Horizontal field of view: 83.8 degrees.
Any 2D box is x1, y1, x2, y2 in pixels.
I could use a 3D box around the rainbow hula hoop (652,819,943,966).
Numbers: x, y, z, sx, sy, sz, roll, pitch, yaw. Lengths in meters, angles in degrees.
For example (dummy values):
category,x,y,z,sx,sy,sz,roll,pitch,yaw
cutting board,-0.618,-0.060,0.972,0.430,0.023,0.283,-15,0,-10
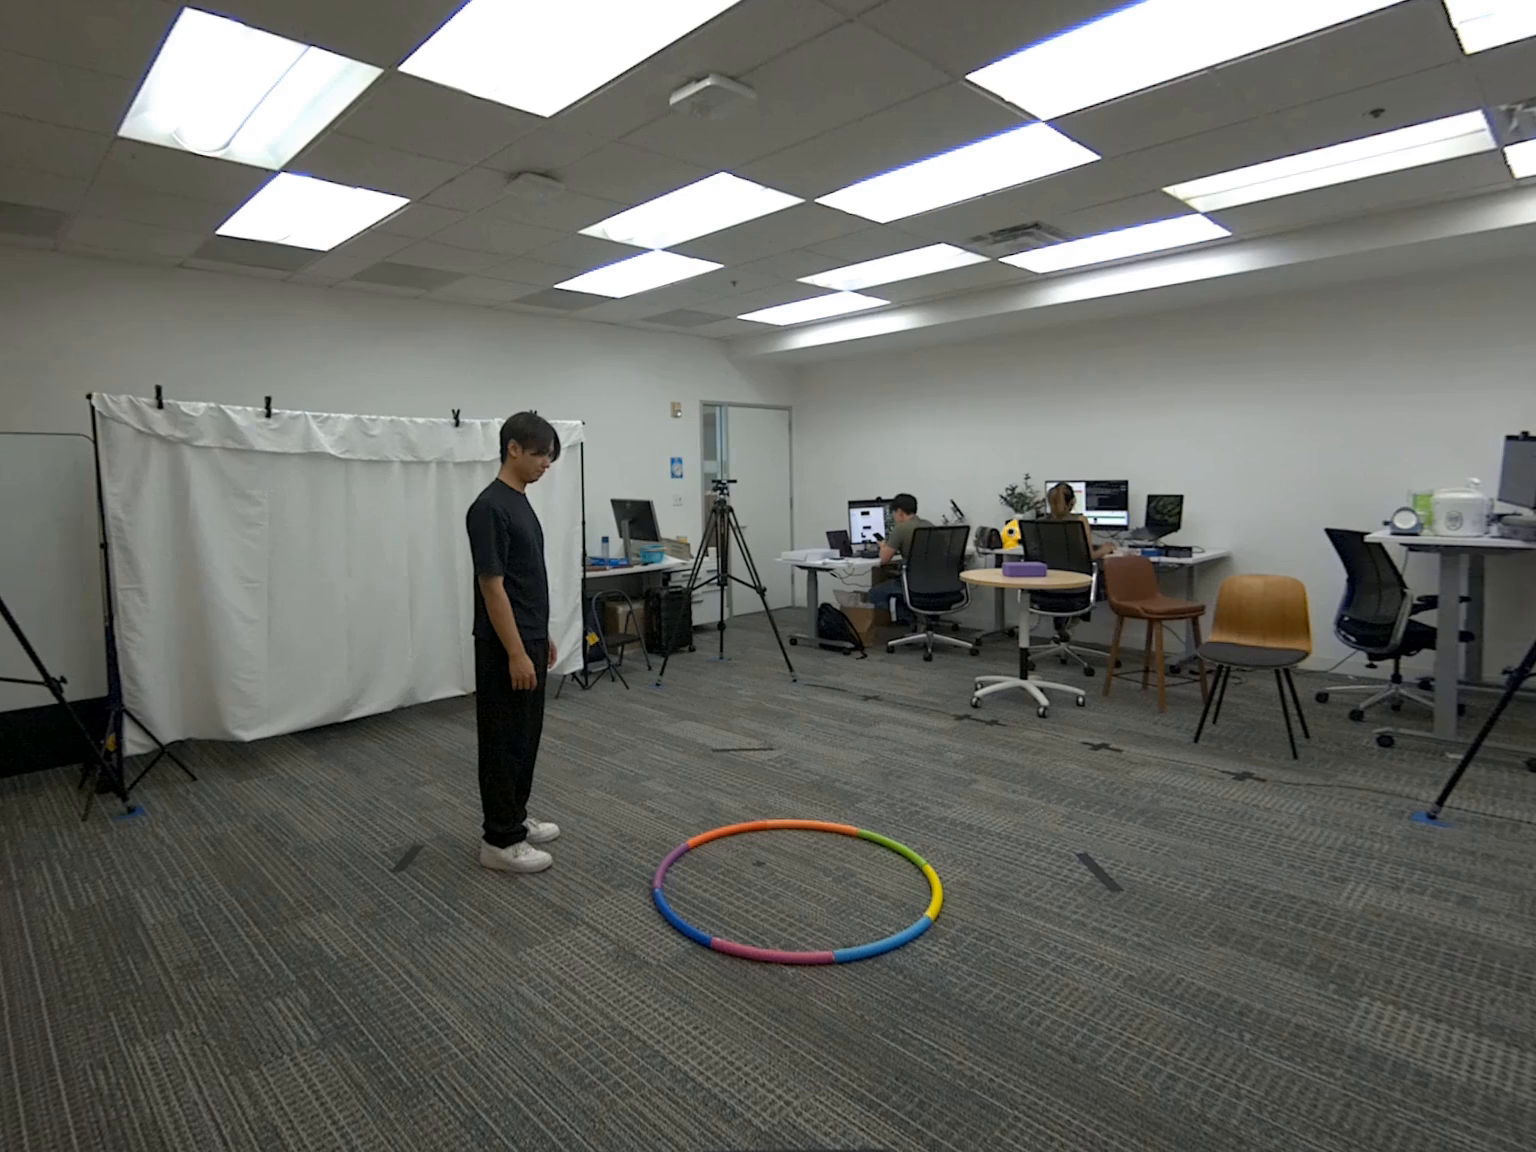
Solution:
category,x,y,z,sx,sy,sz,roll,pitch,yaw
rainbow hula hoop,0.097,1.032,2.944,0.978,0.035,0.984,-1,7,-2
